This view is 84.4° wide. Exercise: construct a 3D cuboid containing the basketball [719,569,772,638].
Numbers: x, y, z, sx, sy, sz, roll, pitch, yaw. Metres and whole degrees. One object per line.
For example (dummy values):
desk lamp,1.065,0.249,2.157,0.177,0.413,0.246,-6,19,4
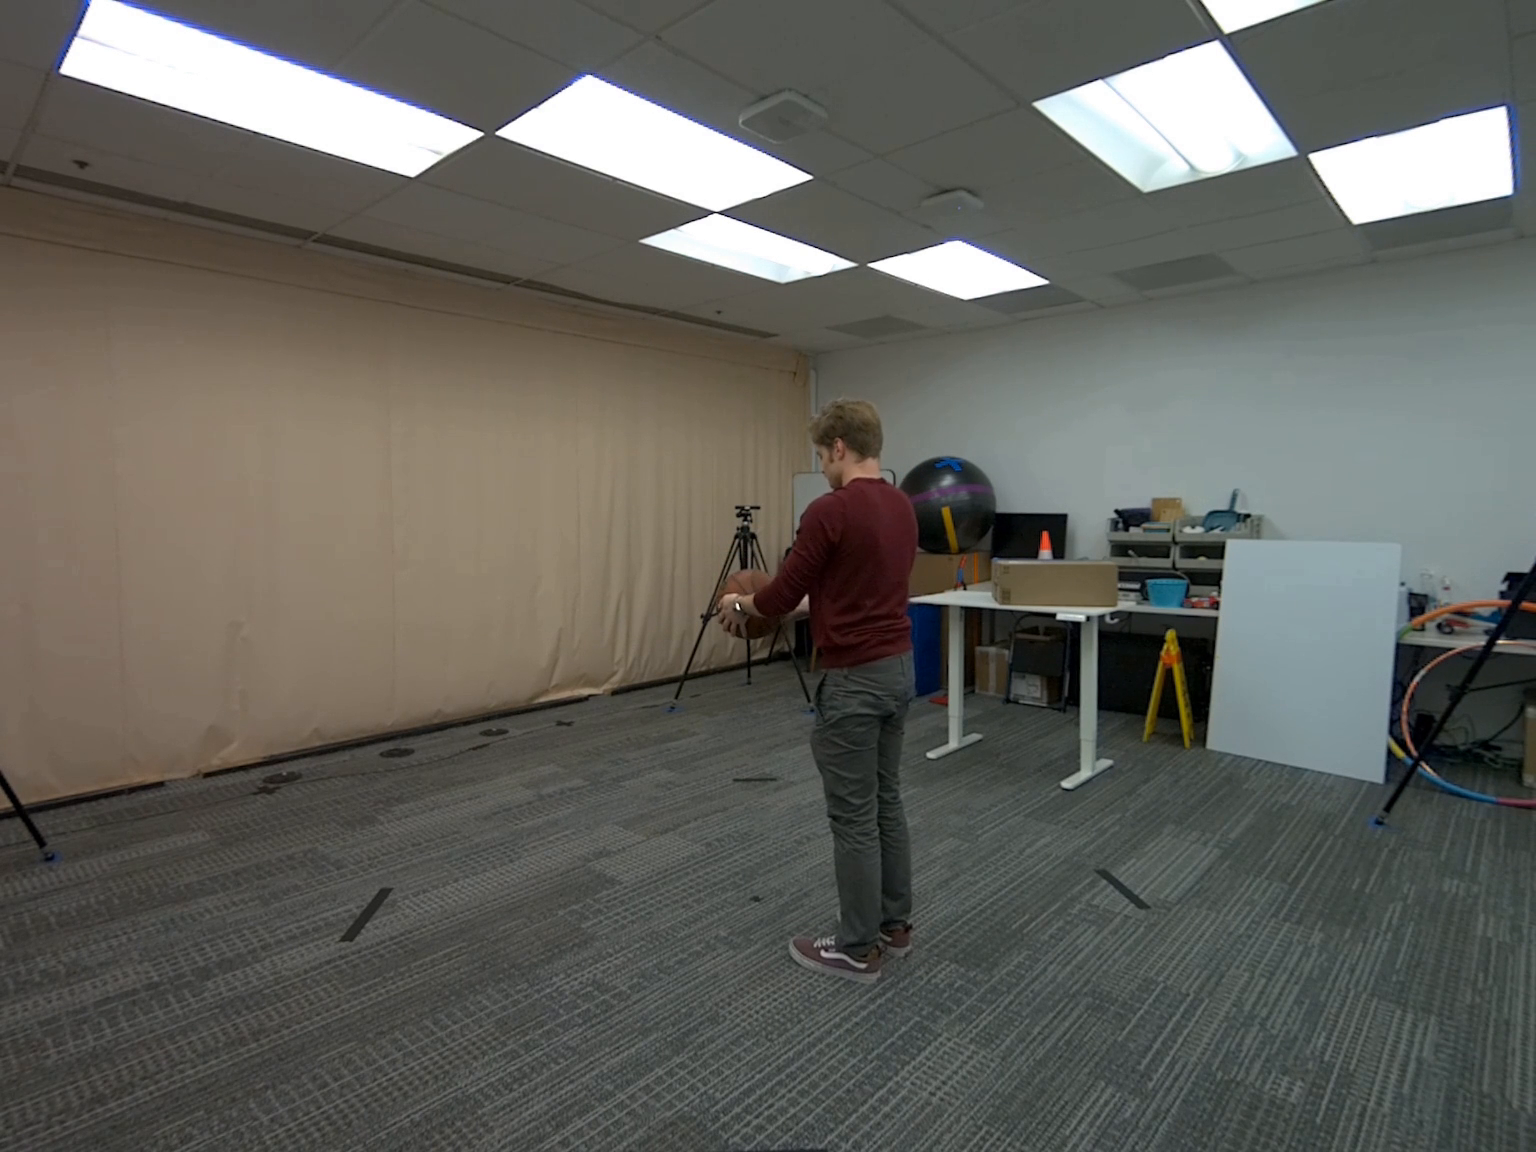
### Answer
basketball,-0.053,0.101,2.849,0.236,0.235,0.237,0,4,-2
